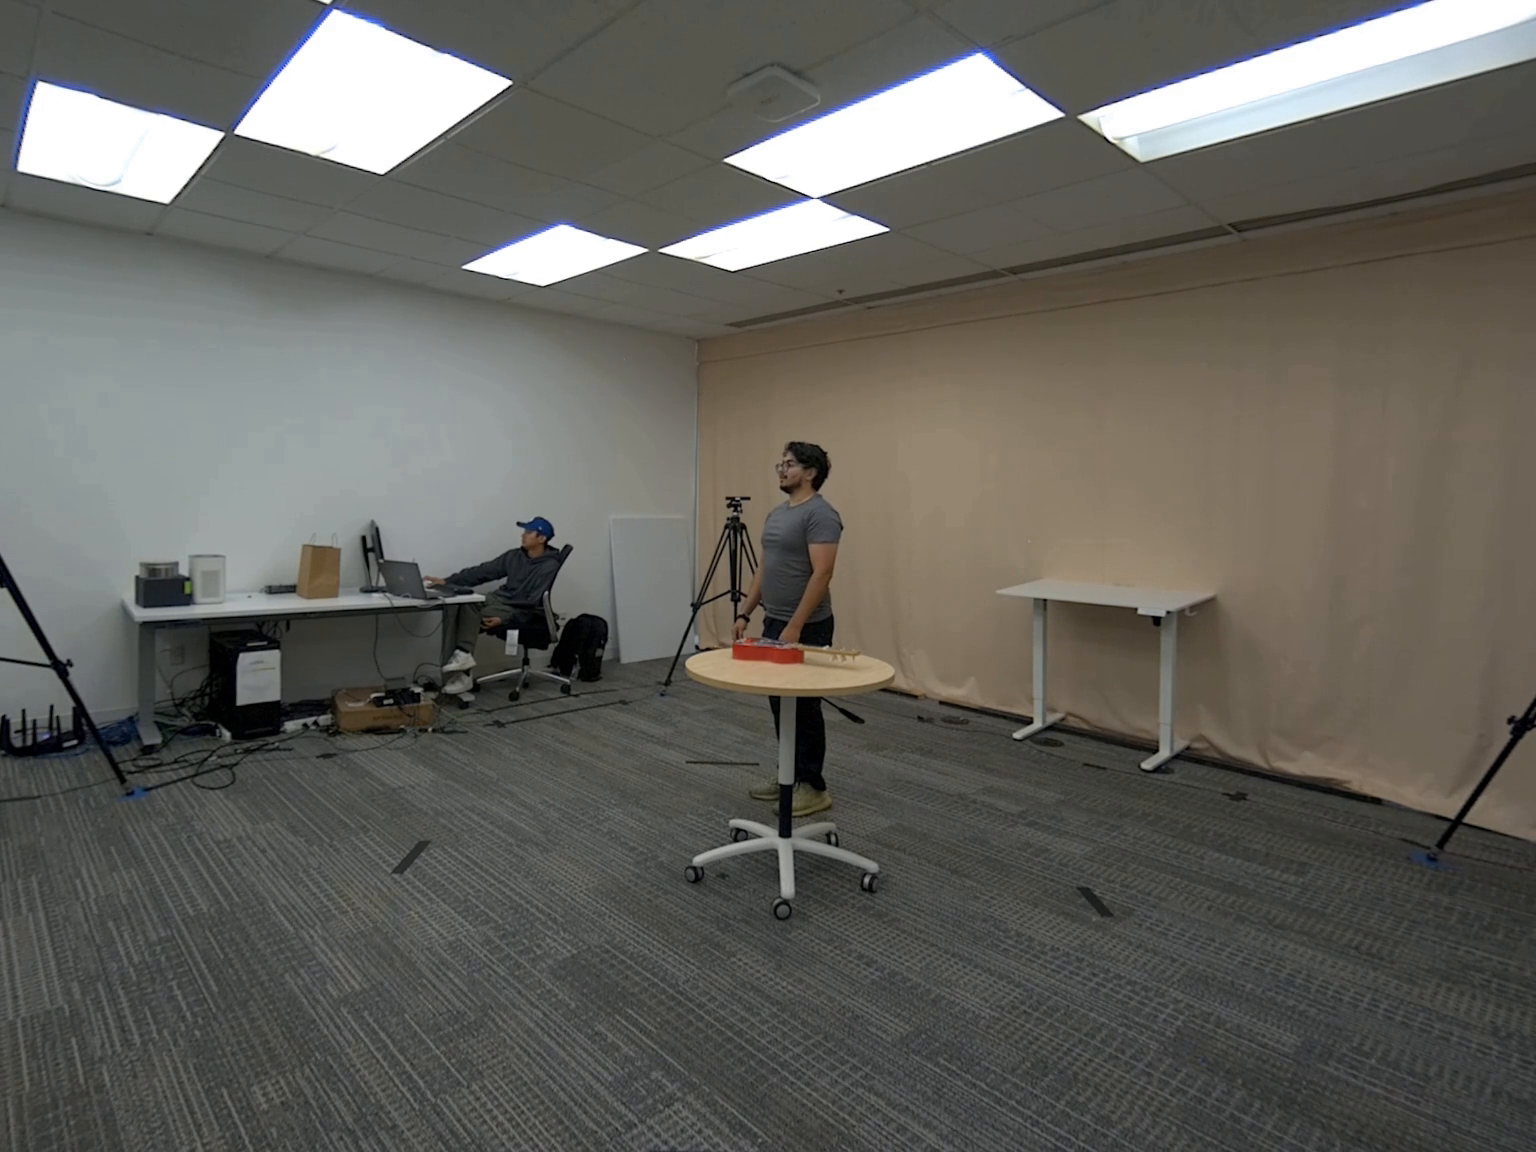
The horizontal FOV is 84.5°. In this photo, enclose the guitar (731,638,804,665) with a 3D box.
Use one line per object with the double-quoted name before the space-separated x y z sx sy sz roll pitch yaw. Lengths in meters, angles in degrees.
"guitar" 0.069 0.287 3.152 0.510 0.070 0.188 5 4 37
